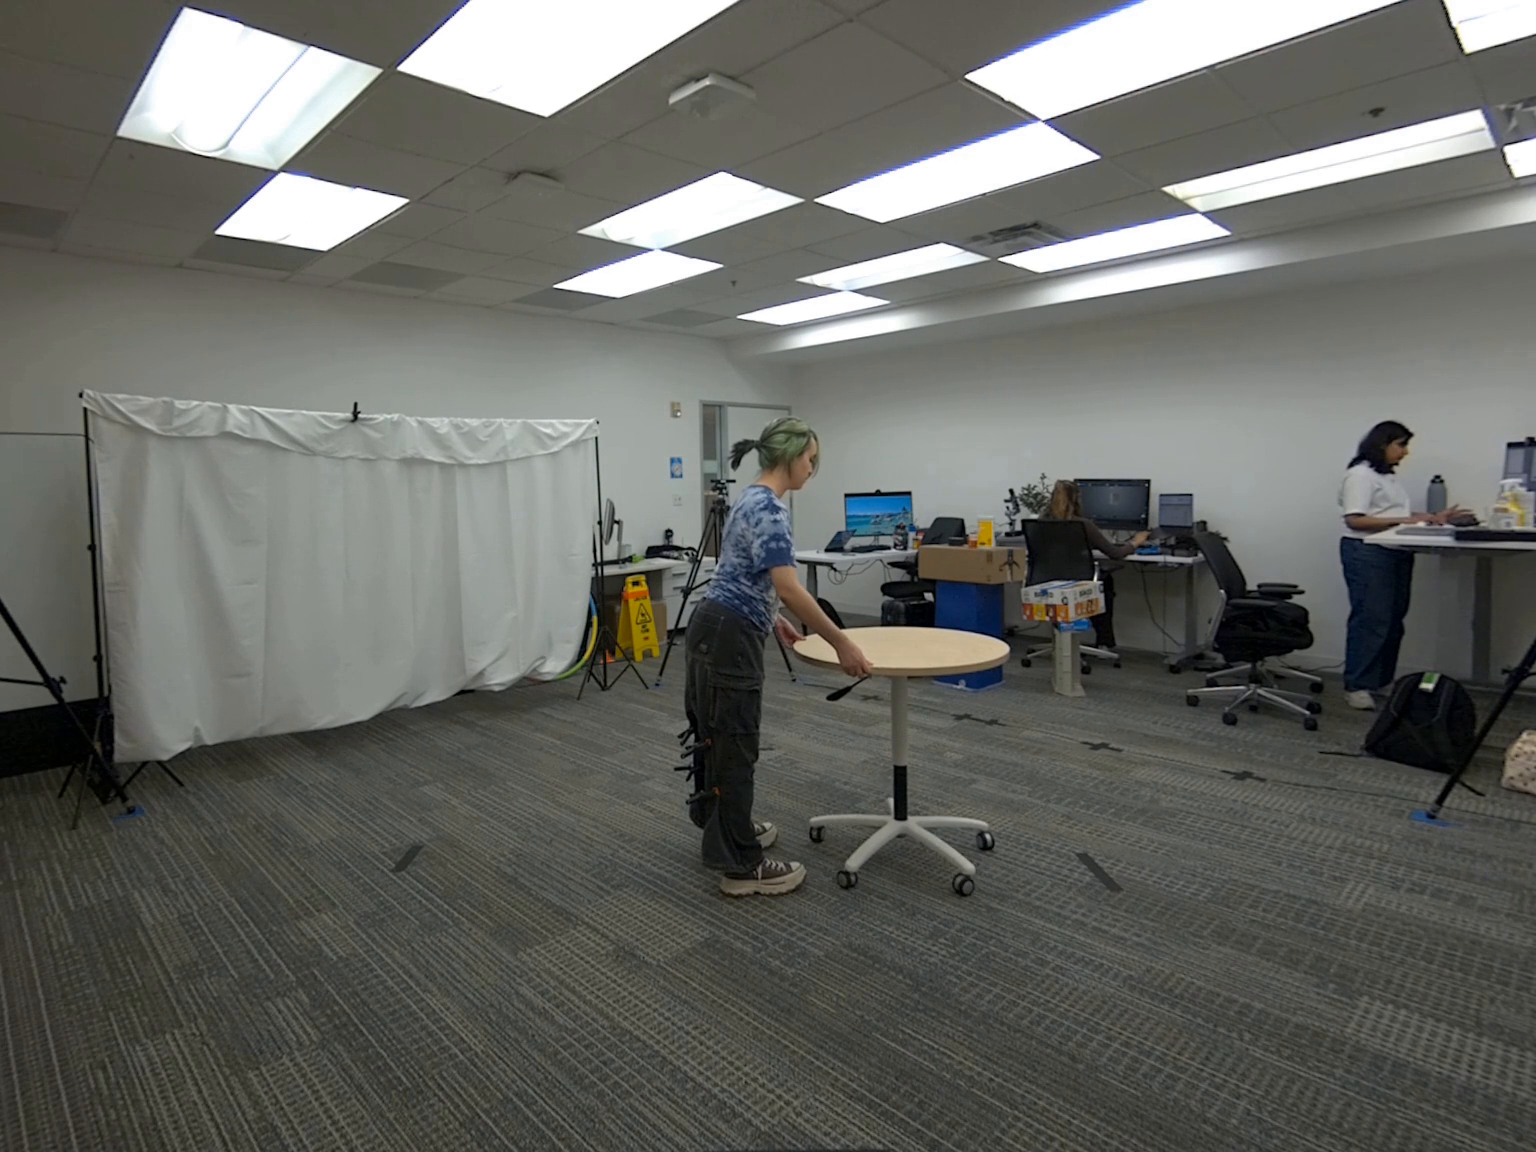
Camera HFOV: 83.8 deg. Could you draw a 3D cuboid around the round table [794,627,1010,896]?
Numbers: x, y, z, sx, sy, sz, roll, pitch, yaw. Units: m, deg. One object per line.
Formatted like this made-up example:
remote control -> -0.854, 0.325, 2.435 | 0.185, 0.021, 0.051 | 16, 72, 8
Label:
round table -> 0.482, 0.645, 3.126 | 0.763, 0.791, 0.768 | -2, 5, -2
